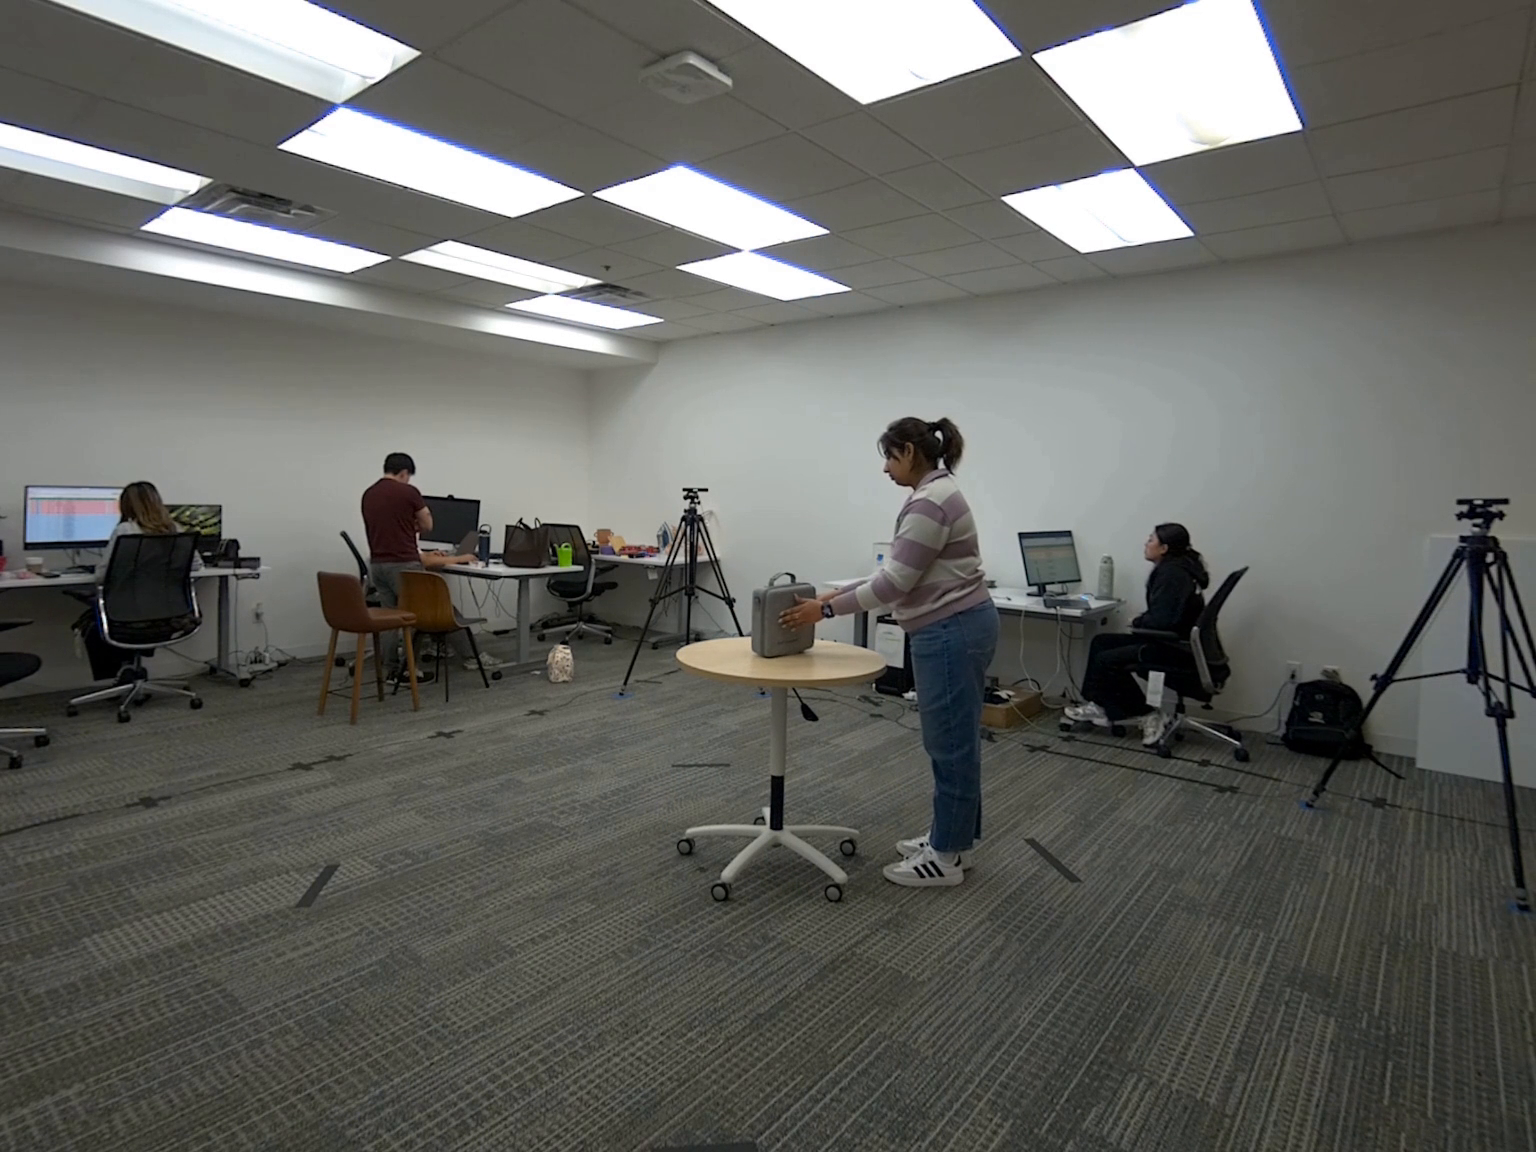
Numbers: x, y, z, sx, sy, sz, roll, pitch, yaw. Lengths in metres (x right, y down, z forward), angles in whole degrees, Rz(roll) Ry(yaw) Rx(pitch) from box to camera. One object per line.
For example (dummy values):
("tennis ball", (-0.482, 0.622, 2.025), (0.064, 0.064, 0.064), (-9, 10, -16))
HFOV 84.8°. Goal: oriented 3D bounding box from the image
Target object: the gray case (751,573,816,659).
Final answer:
("gray case", (0.045, 0.150, 3.149), (0.250, 0.259, 0.108), (-4, 7, -36))
